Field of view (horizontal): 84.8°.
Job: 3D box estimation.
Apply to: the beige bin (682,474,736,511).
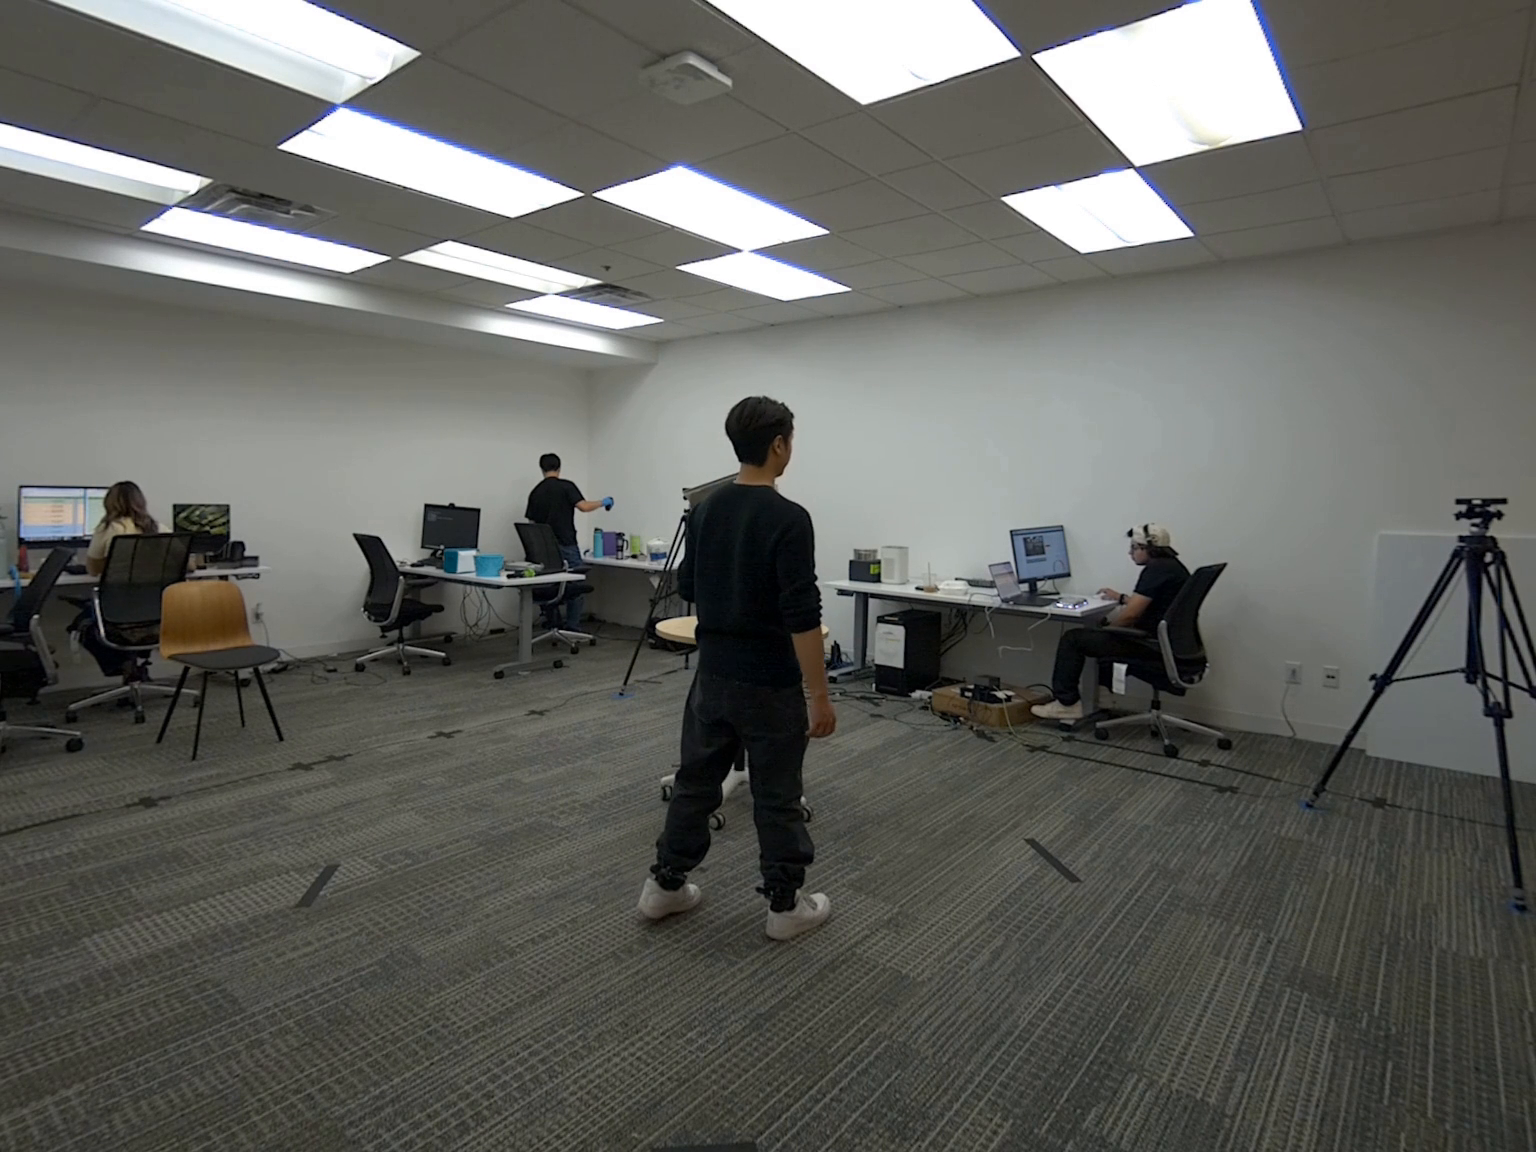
[{"bbox_3d":[-0.154,-0.148,3.241,0.385,0.431,0.181,-16,-24,30],"label":"beige bin"}]
